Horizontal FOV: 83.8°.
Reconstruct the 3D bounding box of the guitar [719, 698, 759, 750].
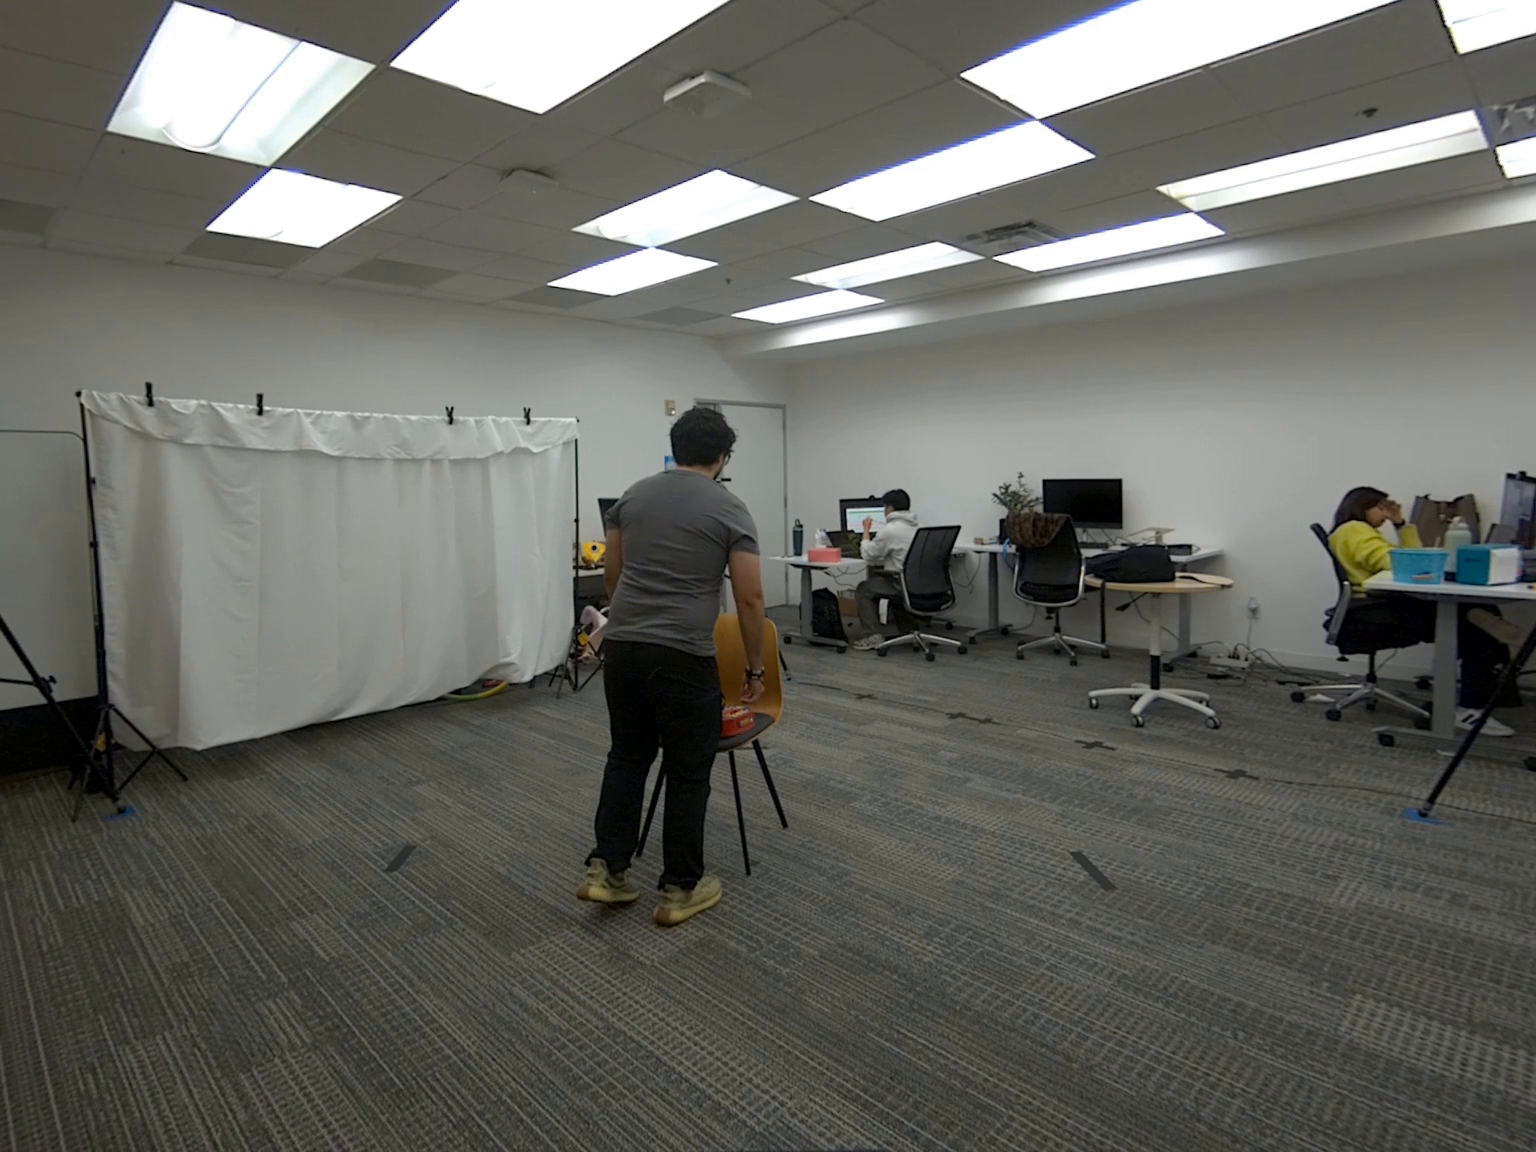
[{"bbox_3d":[-0.256,0.523,3.219,0.188,0.070,0.512,-8,7,-44],"label":"guitar"}]
